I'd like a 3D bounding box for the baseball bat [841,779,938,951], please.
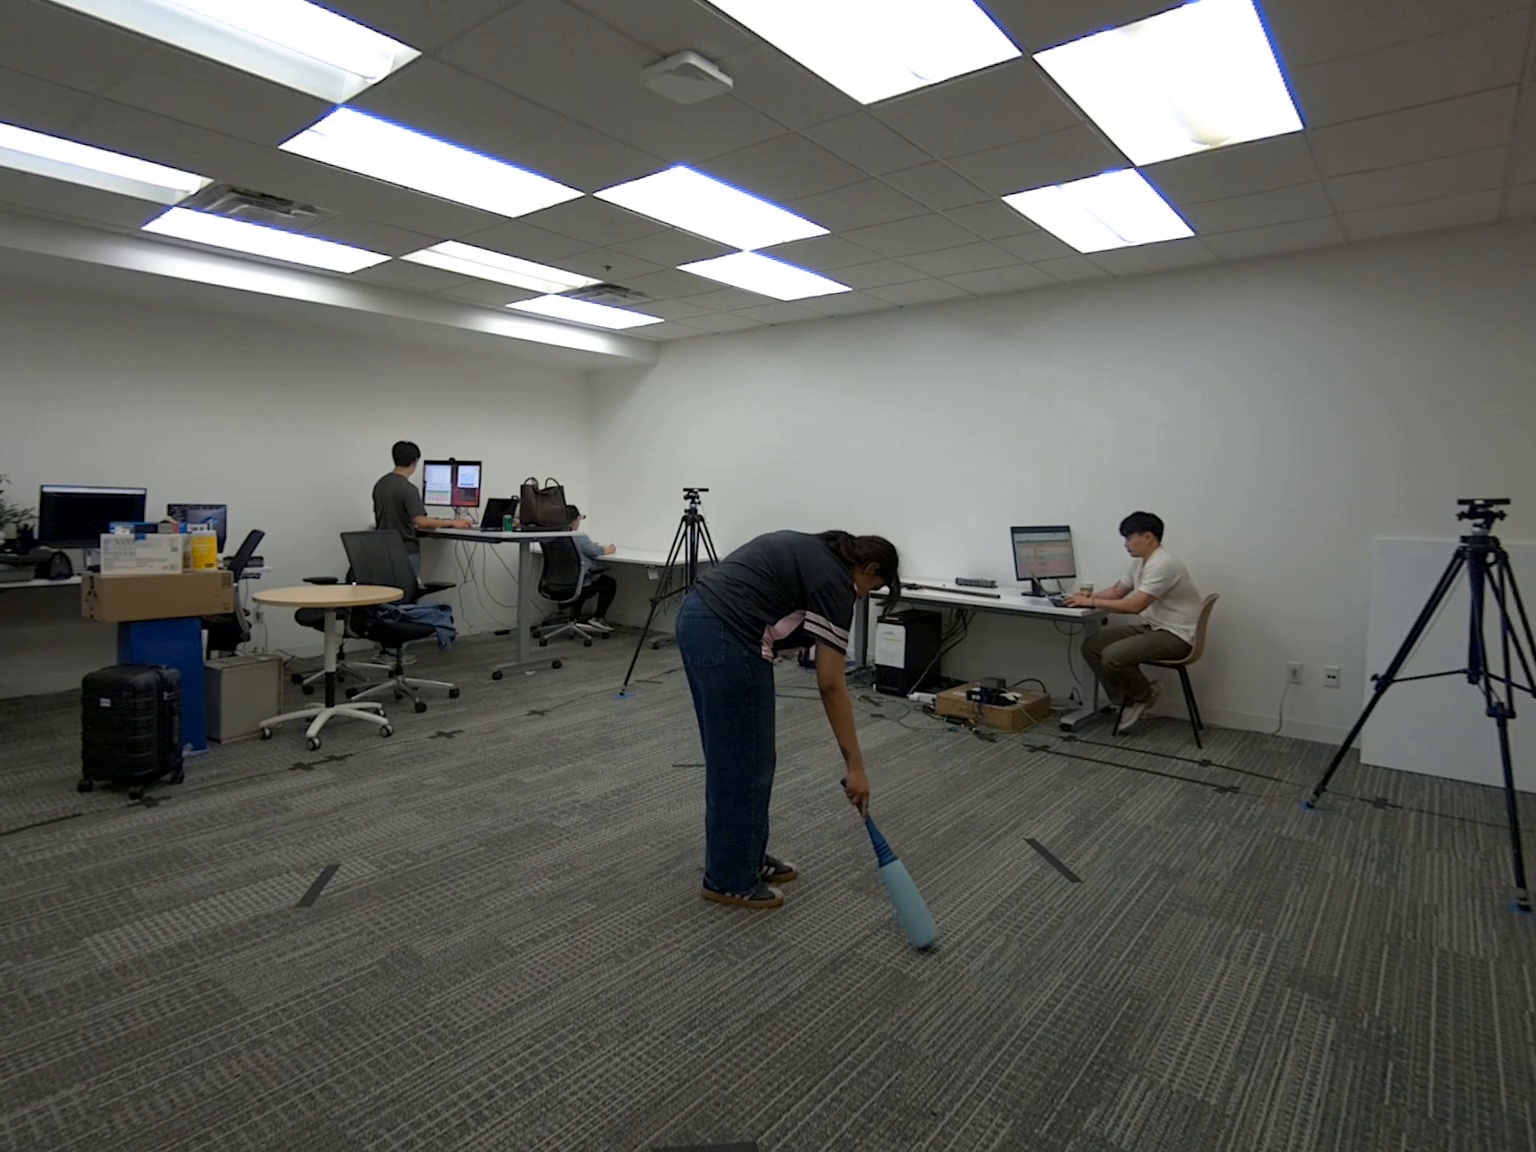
[{"bbox_3d":[0.376,0.895,2.699,0.088,0.558,0.087,-23,-23,-11],"label":"baseball bat"}]
